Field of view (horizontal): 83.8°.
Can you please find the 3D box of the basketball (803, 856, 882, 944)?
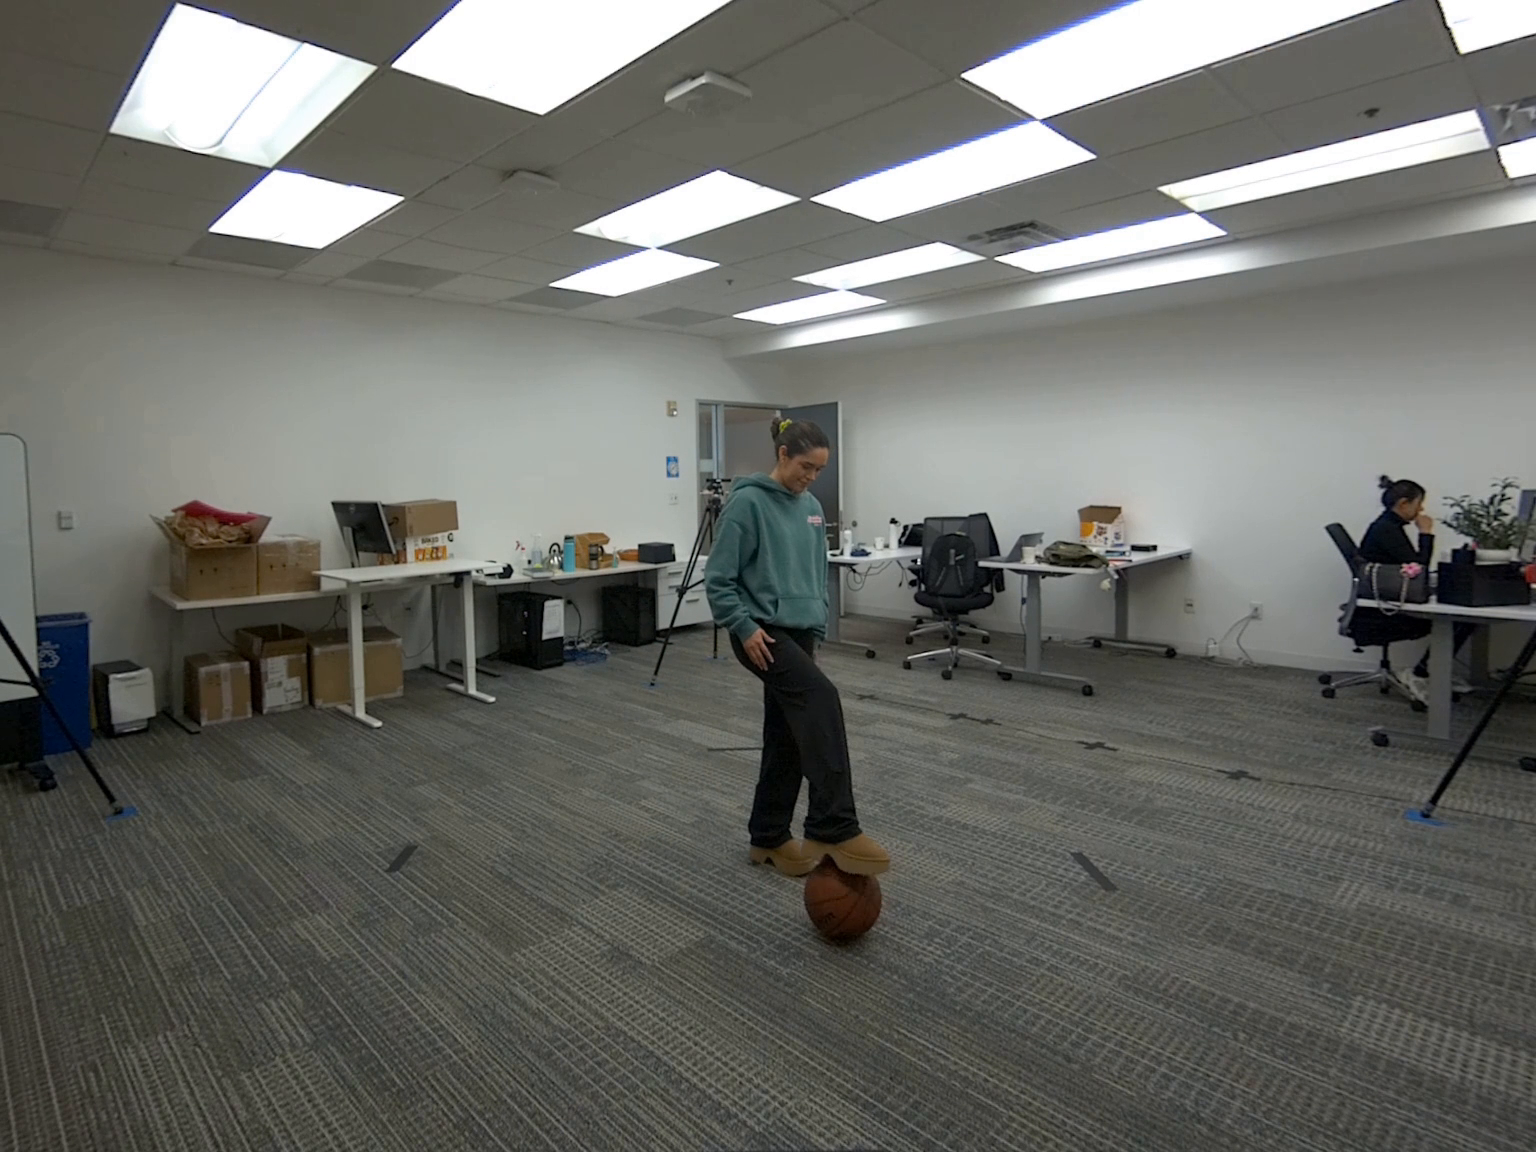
[{"bbox_3d":[0.234,0.980,2.608,0.236,0.235,0.237,-1,5,-2],"label":"basketball"}]
